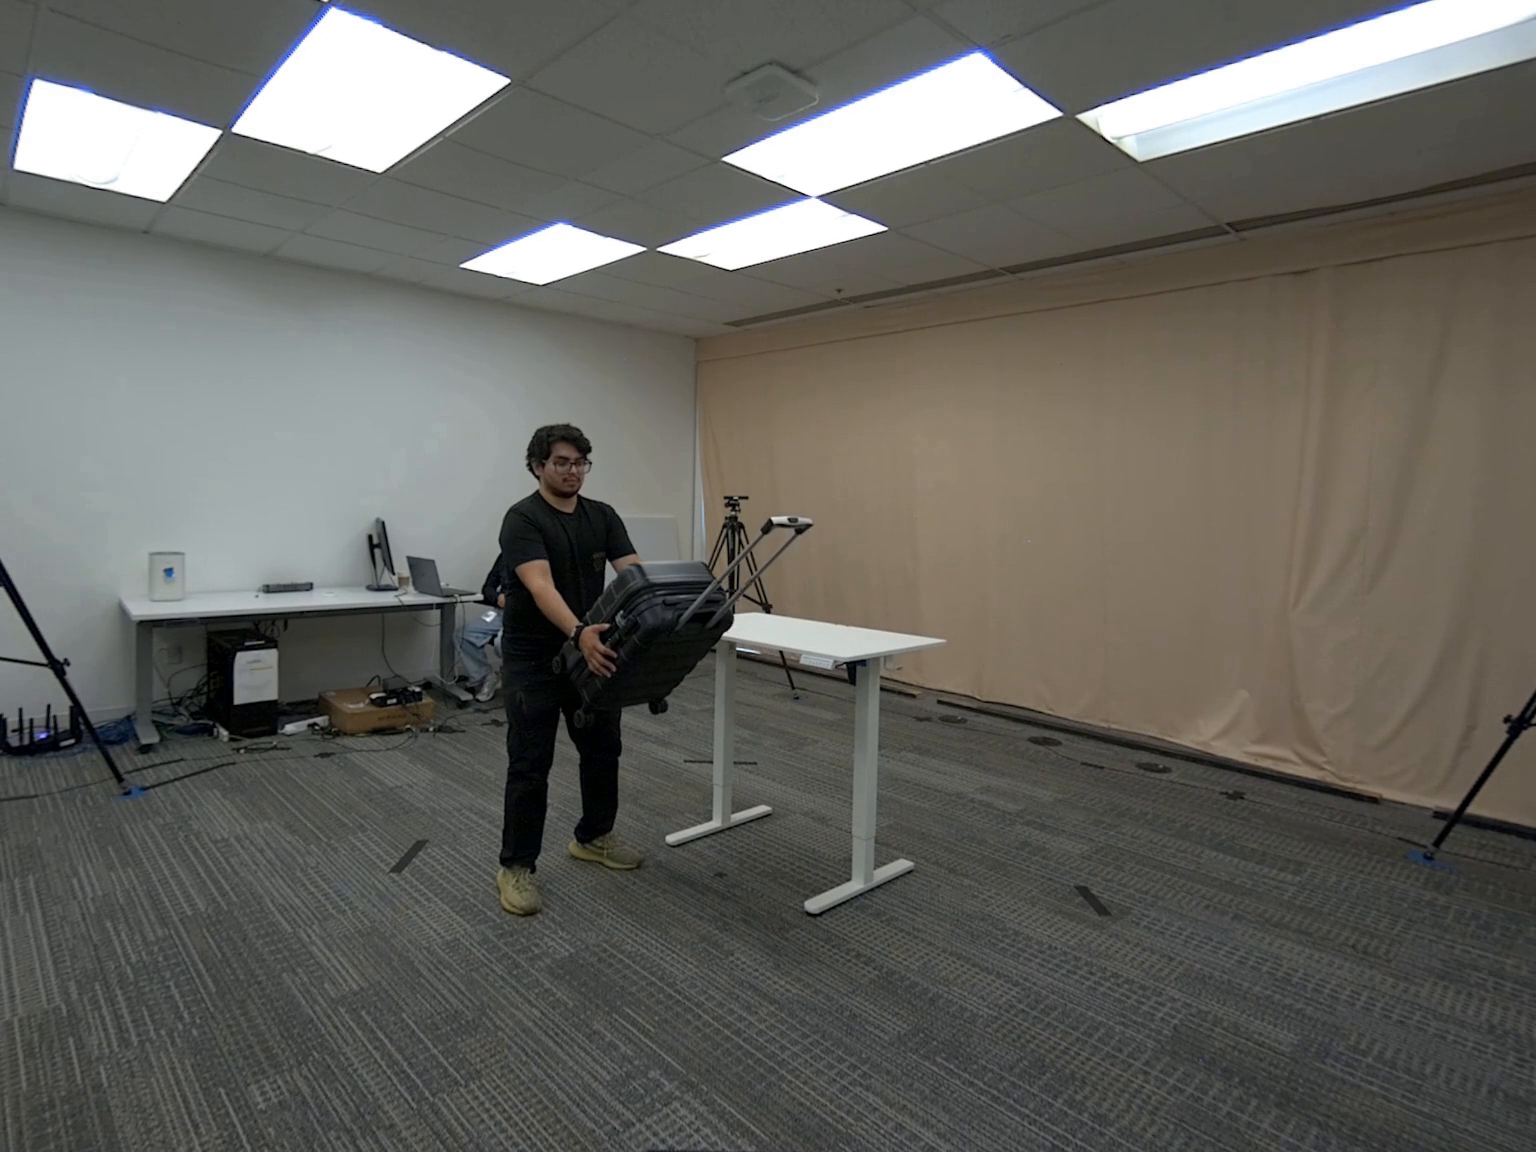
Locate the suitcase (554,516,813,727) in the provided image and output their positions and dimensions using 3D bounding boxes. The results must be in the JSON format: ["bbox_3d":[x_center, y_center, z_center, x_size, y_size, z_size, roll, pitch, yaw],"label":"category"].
[{"bbox_3d":[-0.281,0.074,2.505,0.375,0.264,0.976,-1,-39,-43],"label":"suitcase"}]
